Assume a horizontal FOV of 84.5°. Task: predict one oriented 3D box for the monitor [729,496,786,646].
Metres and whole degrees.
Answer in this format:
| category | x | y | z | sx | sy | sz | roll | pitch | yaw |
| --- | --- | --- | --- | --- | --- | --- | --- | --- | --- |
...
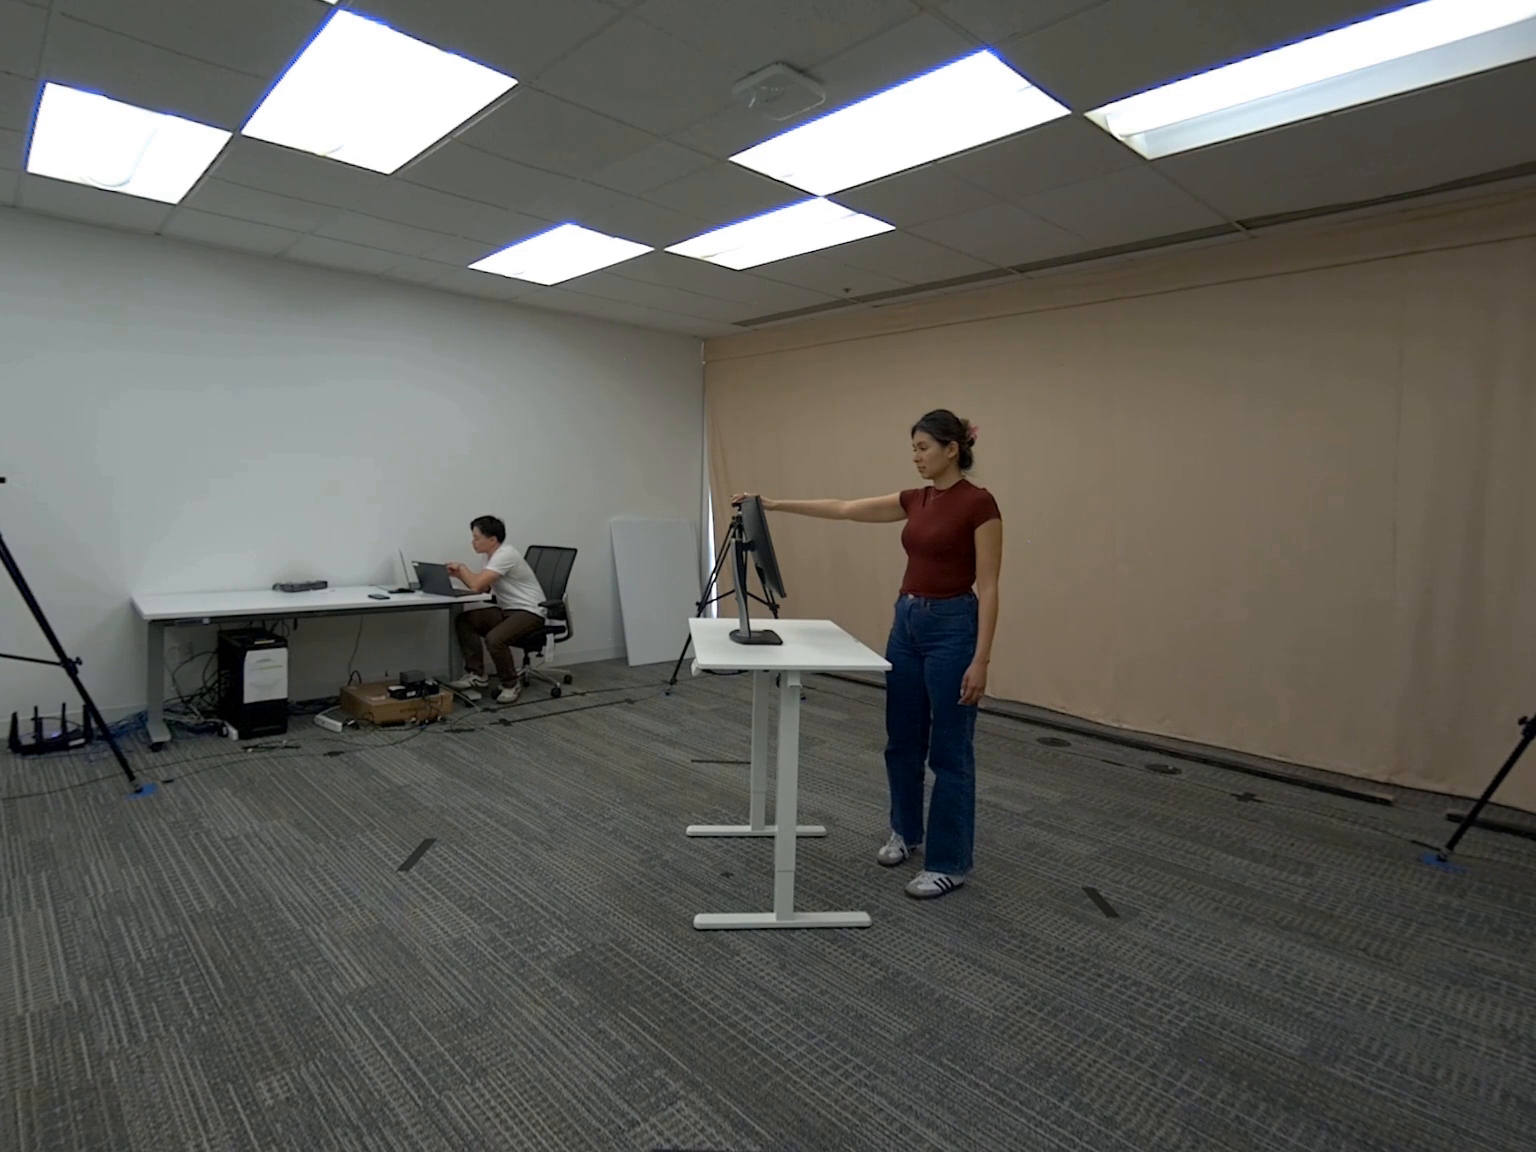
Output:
| category | x | y | z | sx | sy | sz | roll | pitch | yaw |
| --- | --- | --- | --- | --- | --- | --- | --- | --- | --- |
| monitor | -0.057 | -0.024 | 3.037 | 0.186 | 0.521 | 0.543 | -1 | 3 | -9 |
